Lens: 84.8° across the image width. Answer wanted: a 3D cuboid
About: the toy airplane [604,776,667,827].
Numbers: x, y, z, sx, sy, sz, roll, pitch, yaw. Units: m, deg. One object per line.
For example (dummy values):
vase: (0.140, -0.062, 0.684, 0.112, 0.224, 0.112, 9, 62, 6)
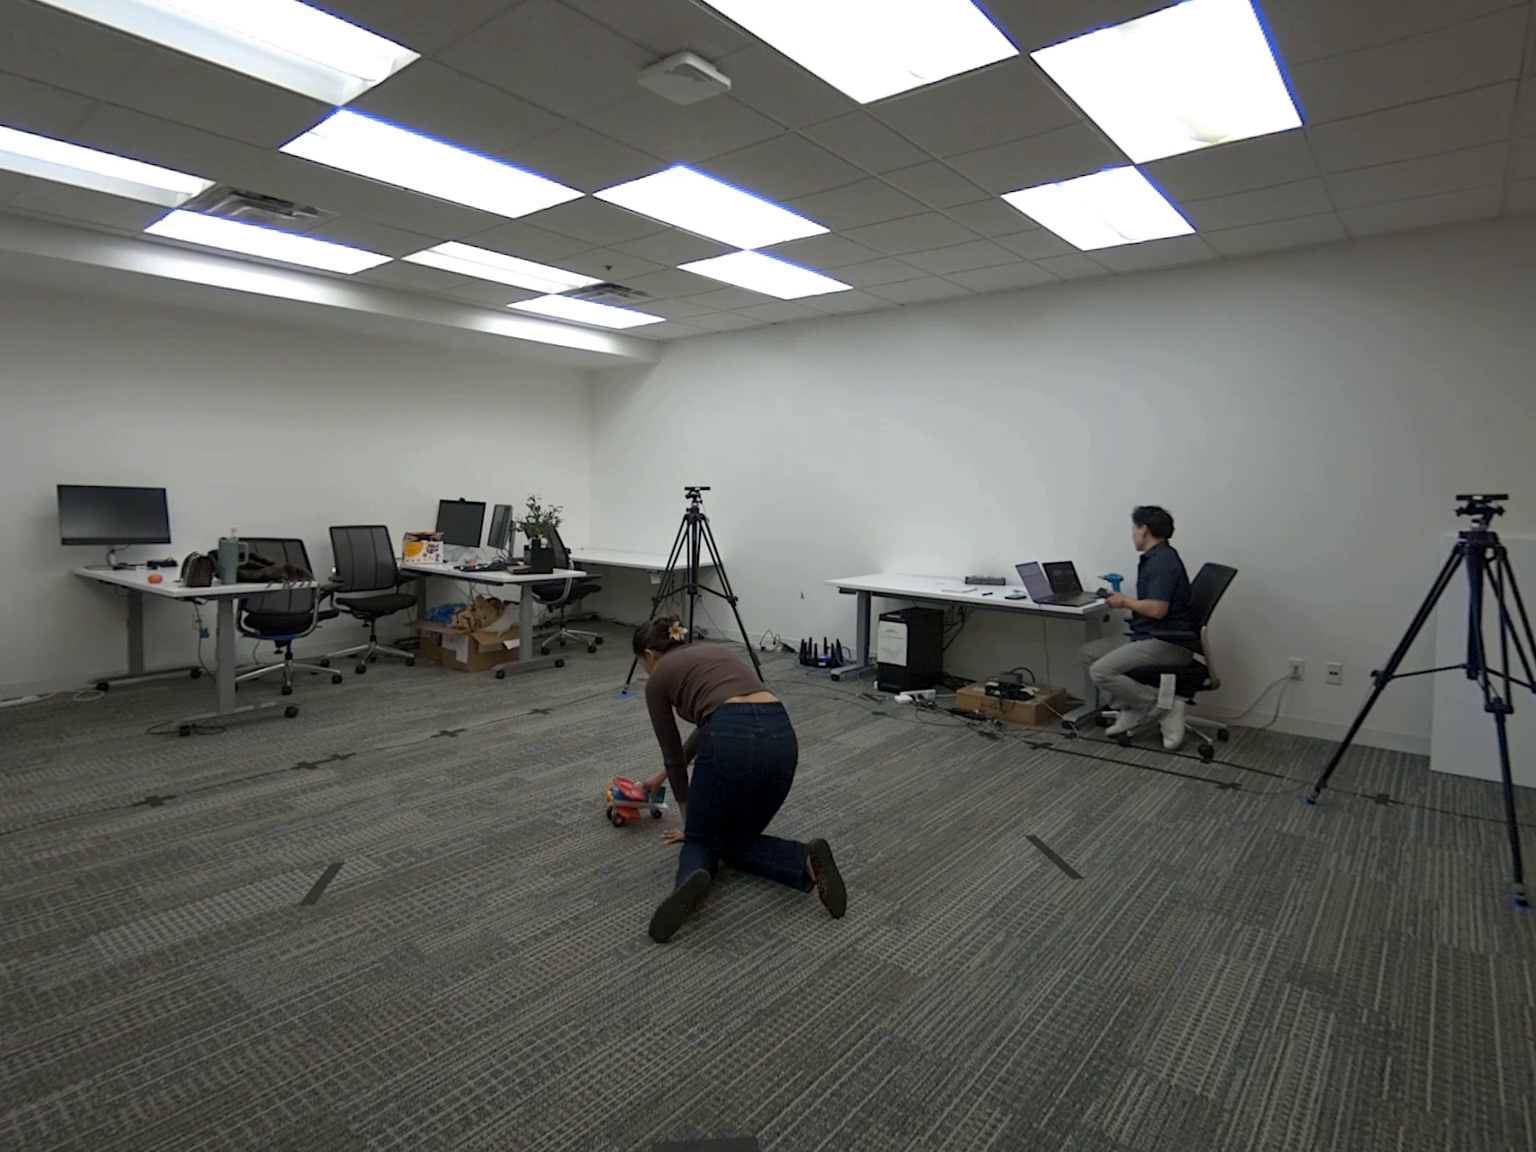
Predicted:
toy airplane: (-0.577, 0.944, 3.570, 0.259, 0.156, 0.252, 4, 8, 38)
